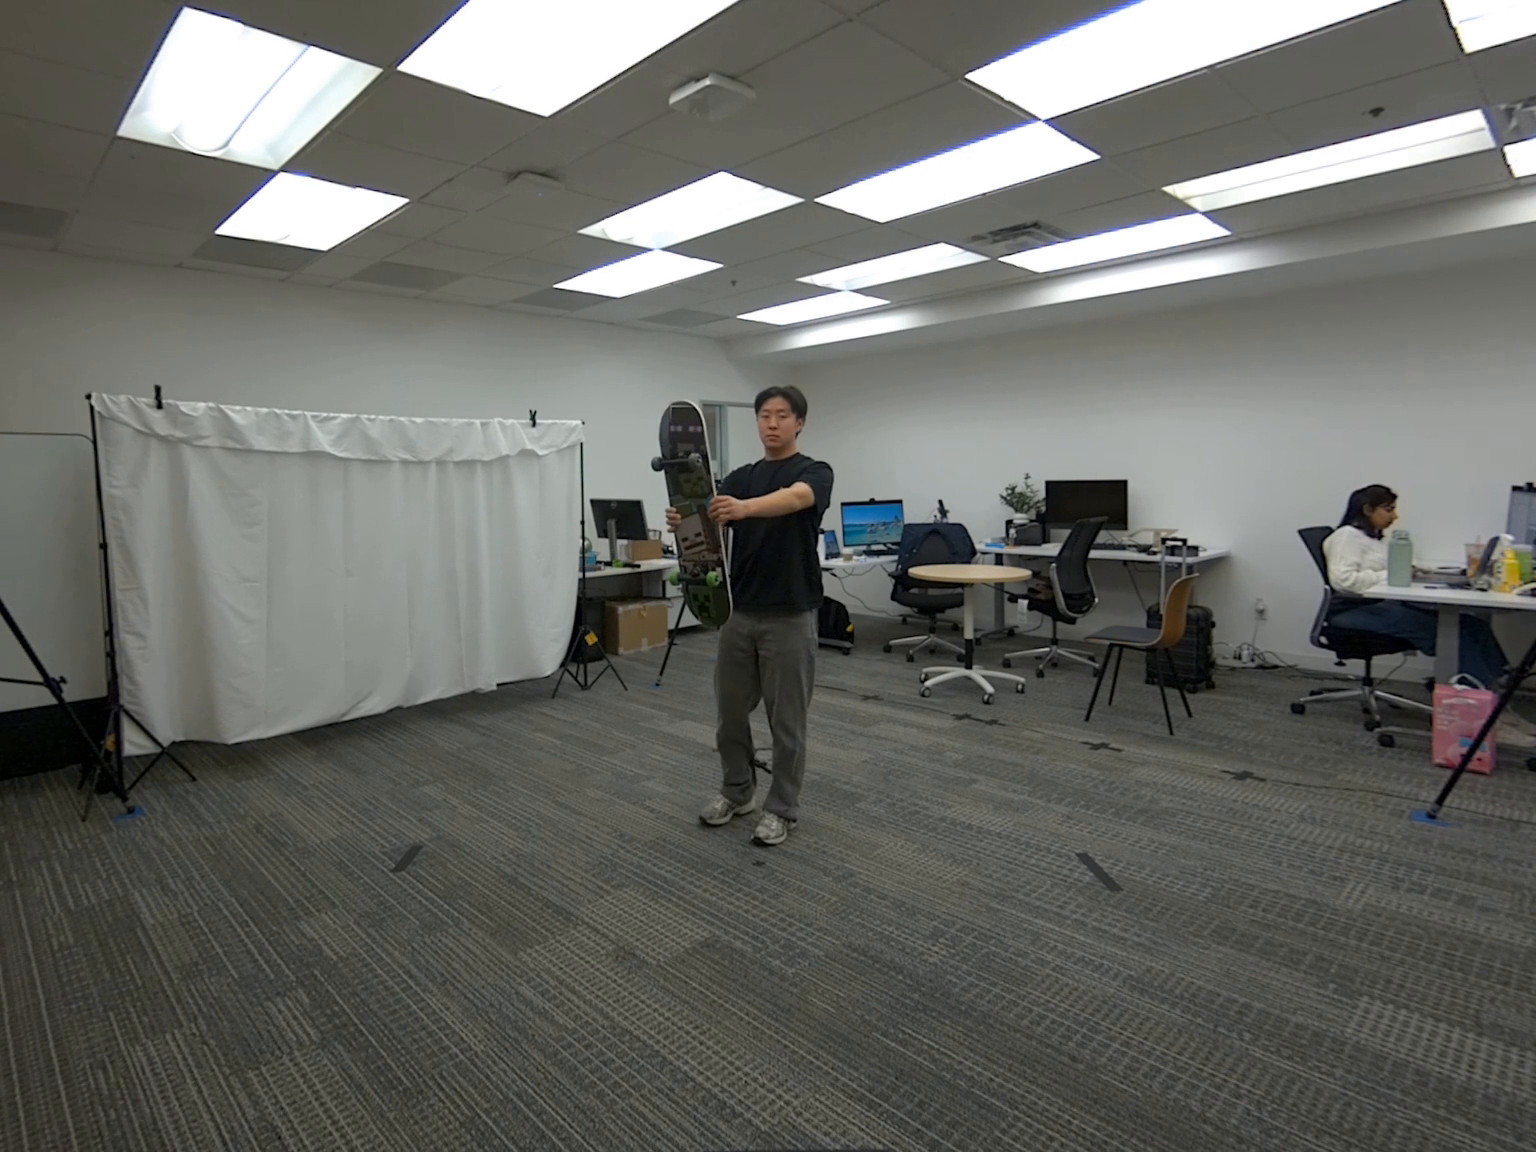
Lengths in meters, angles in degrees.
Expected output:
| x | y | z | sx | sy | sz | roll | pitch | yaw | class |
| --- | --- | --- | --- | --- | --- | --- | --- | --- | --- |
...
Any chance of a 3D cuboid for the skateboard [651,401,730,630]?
| x | y | z | sx | sy | sz | roll | pitch | yaw | class |
| --- | --- | --- | --- | --- | --- | --- | --- | --- | --- |
| -0.265 | -0.189 | 2.885 | 0.198 | 0.776 | 0.109 | 0 | 14 | 31 | skateboard |
